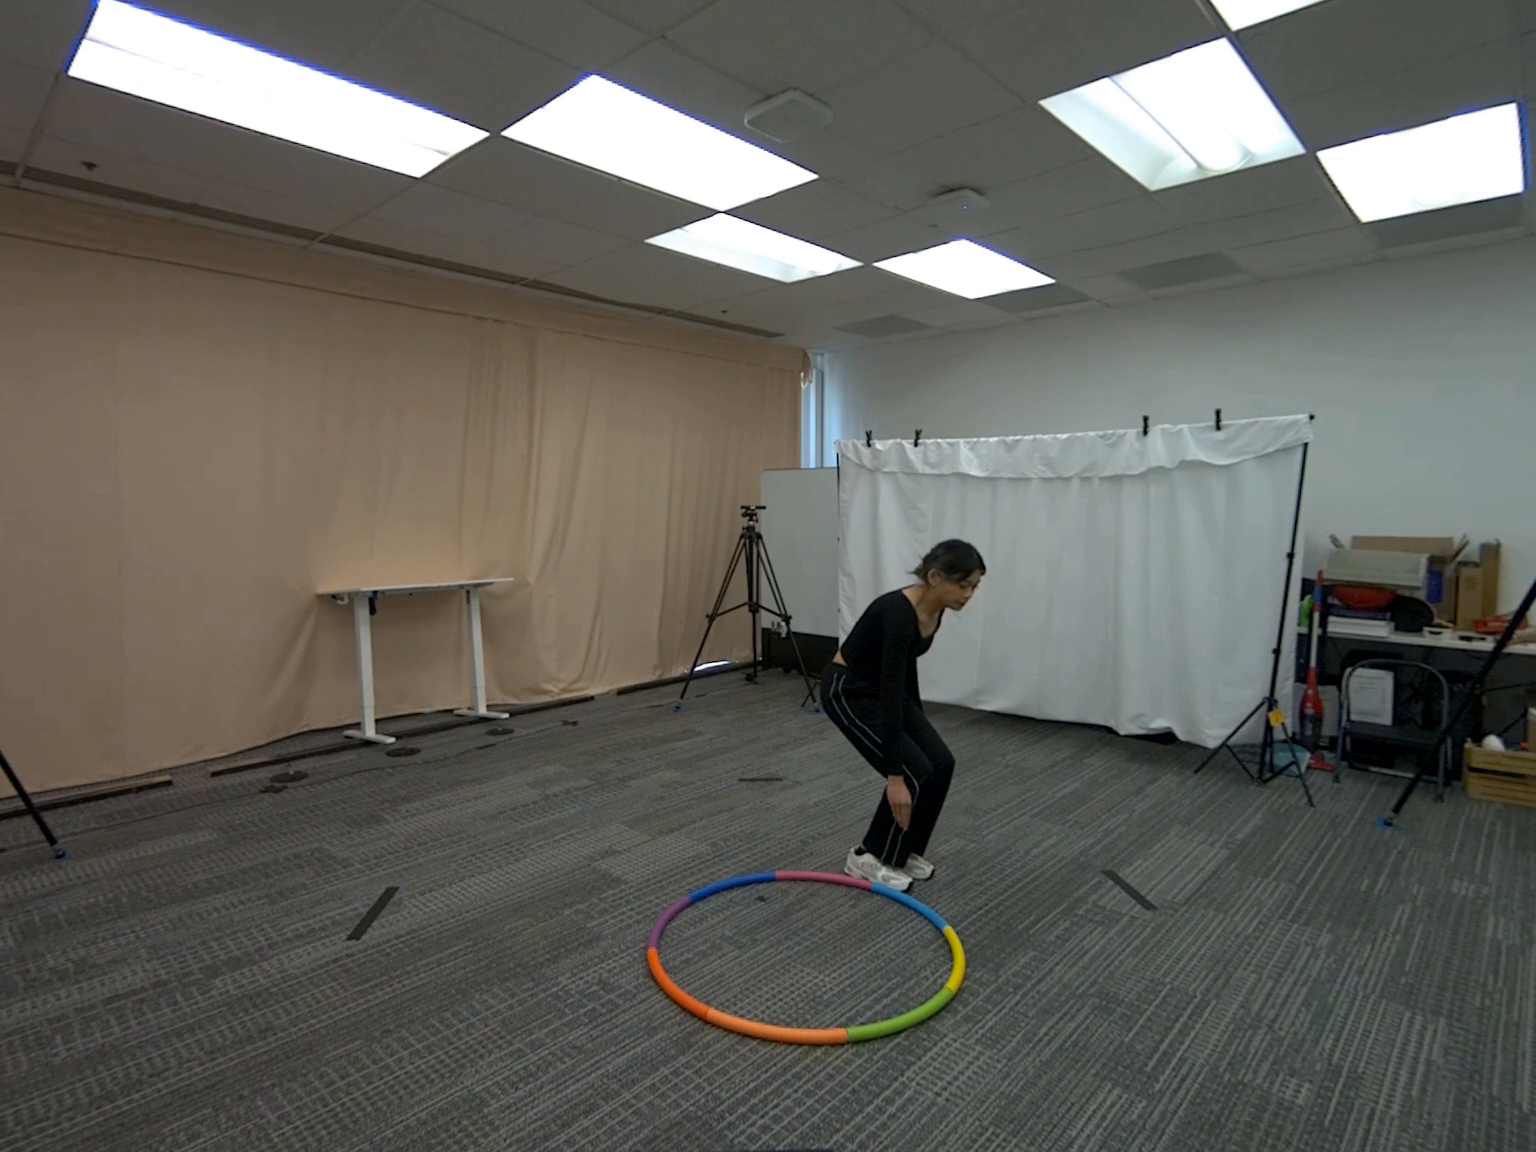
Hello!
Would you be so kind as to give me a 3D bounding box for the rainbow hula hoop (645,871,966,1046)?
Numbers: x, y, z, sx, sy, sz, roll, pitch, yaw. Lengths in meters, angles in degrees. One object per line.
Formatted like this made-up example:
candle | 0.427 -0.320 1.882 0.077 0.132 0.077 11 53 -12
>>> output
rainbow hula hoop | 0.108 1.138 2.659 0.978 0.035 0.982 0 5 -2
